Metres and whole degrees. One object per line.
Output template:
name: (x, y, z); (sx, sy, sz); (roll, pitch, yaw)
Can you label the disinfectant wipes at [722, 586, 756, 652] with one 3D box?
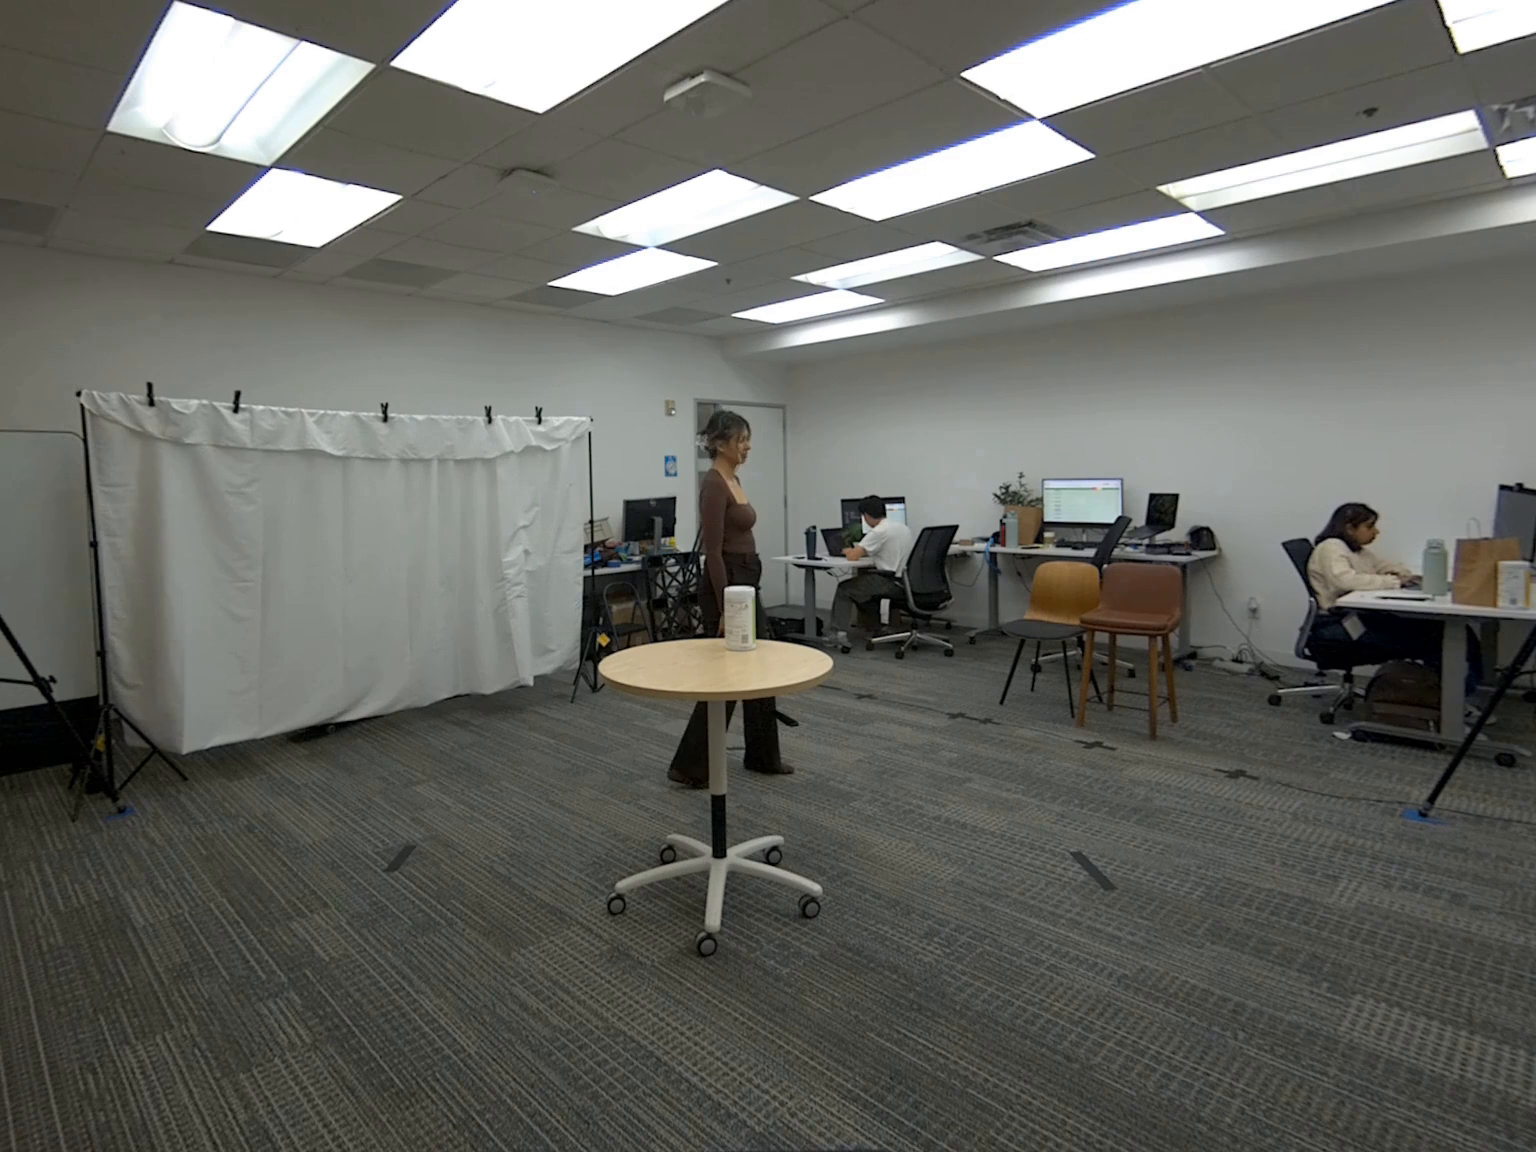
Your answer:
disinfectant wipes: (-0.108, 0.152, 3.000); (0.118, 0.216, 0.118); (0, 5, -2)
